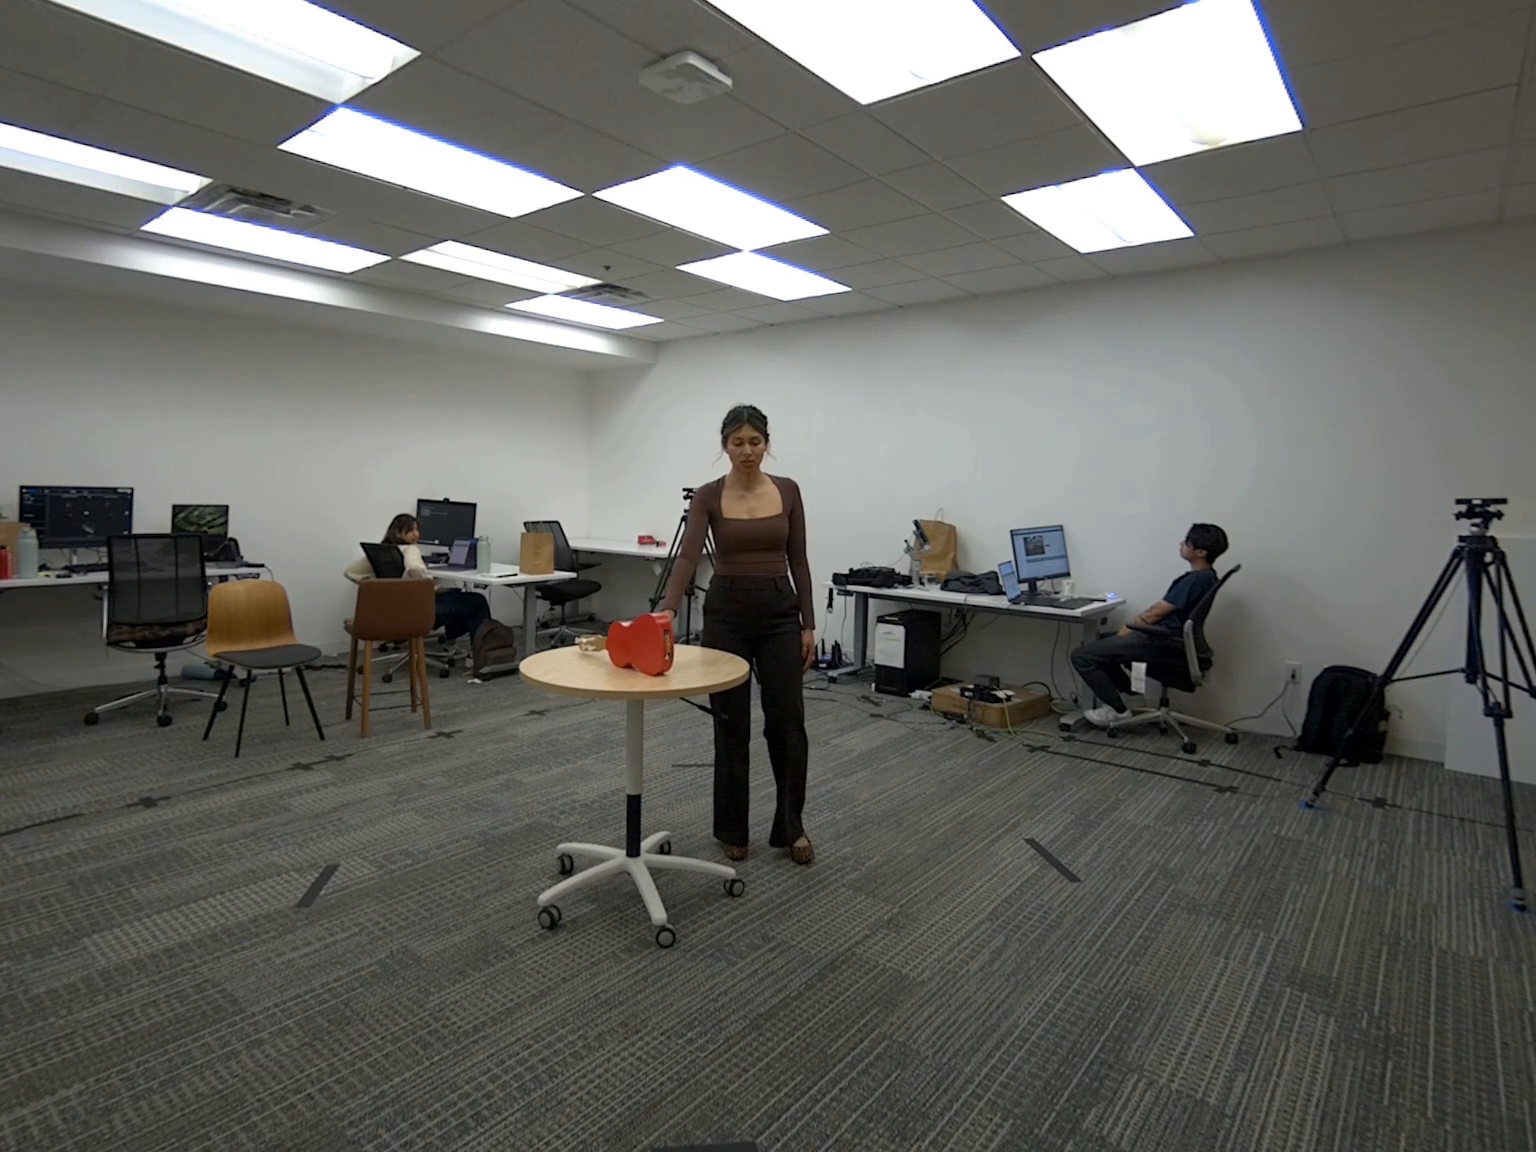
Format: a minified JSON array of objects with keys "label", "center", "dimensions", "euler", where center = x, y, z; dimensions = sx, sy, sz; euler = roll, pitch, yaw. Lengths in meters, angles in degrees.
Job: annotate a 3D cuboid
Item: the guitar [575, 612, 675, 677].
[{"label":"guitar","center":[-0.501,0.253,2.839],"dimensions":[0.508,0.195,0.068],"euler":[-17,-10,42]}]
